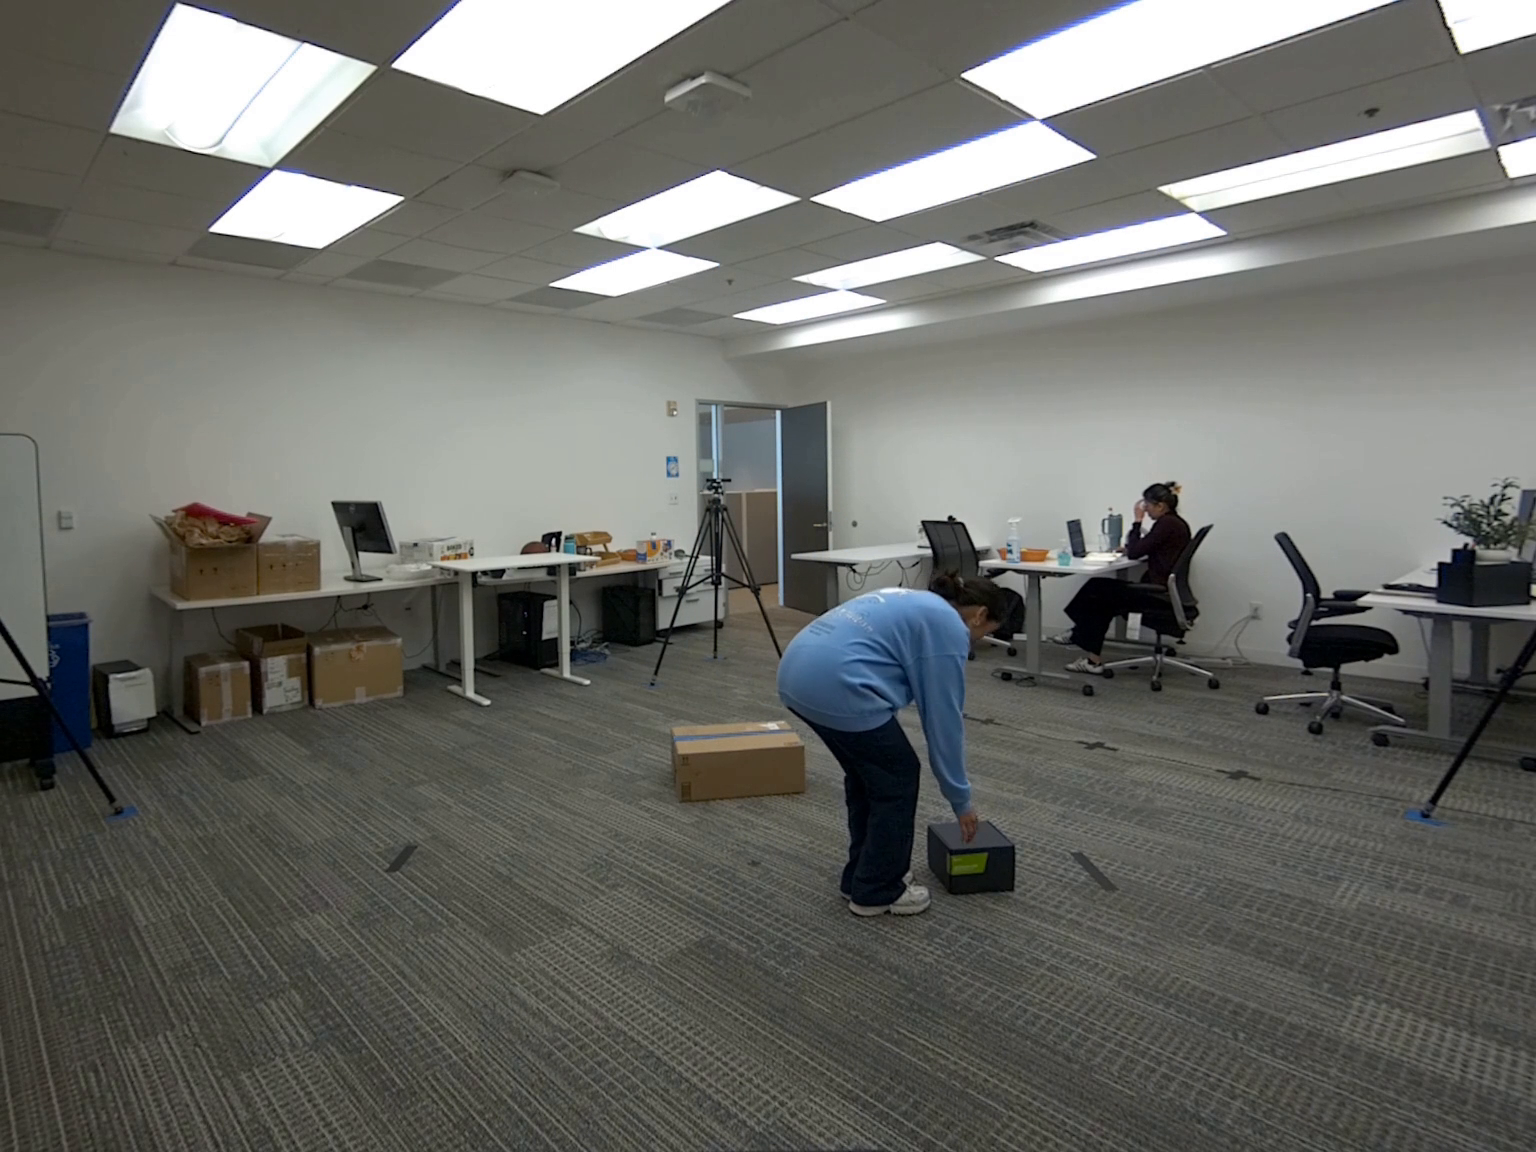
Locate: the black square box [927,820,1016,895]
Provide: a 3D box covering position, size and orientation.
[{"bbox_3d":[0.705,0.965,2.952,0.226,0.155,0.219,-2,5,-9],"label":"black square box"}]
